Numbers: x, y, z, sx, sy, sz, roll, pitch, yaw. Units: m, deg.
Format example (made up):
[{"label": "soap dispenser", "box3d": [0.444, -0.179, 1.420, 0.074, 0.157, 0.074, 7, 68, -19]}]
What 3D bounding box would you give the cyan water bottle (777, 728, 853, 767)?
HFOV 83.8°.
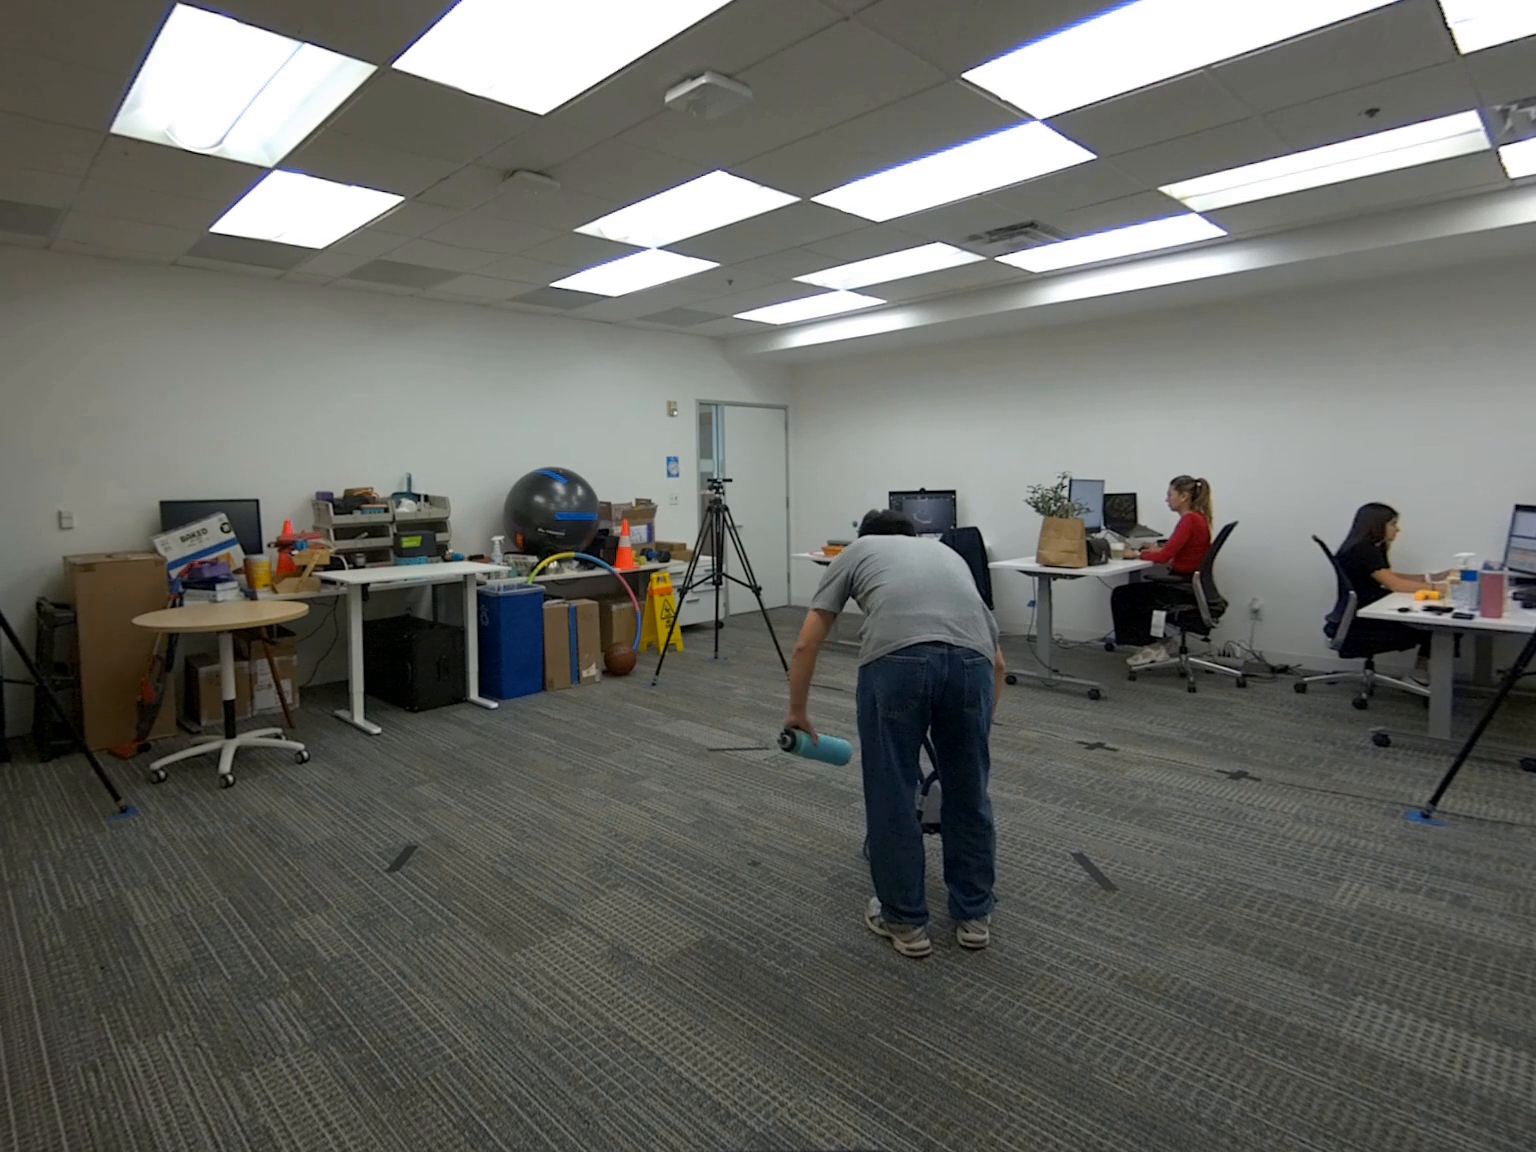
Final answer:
[{"label": "cyan water bottle", "box3d": [0.167, 0.574, 2.882, 0.274, 0.093, 0.095, 19, -7, -31]}]
